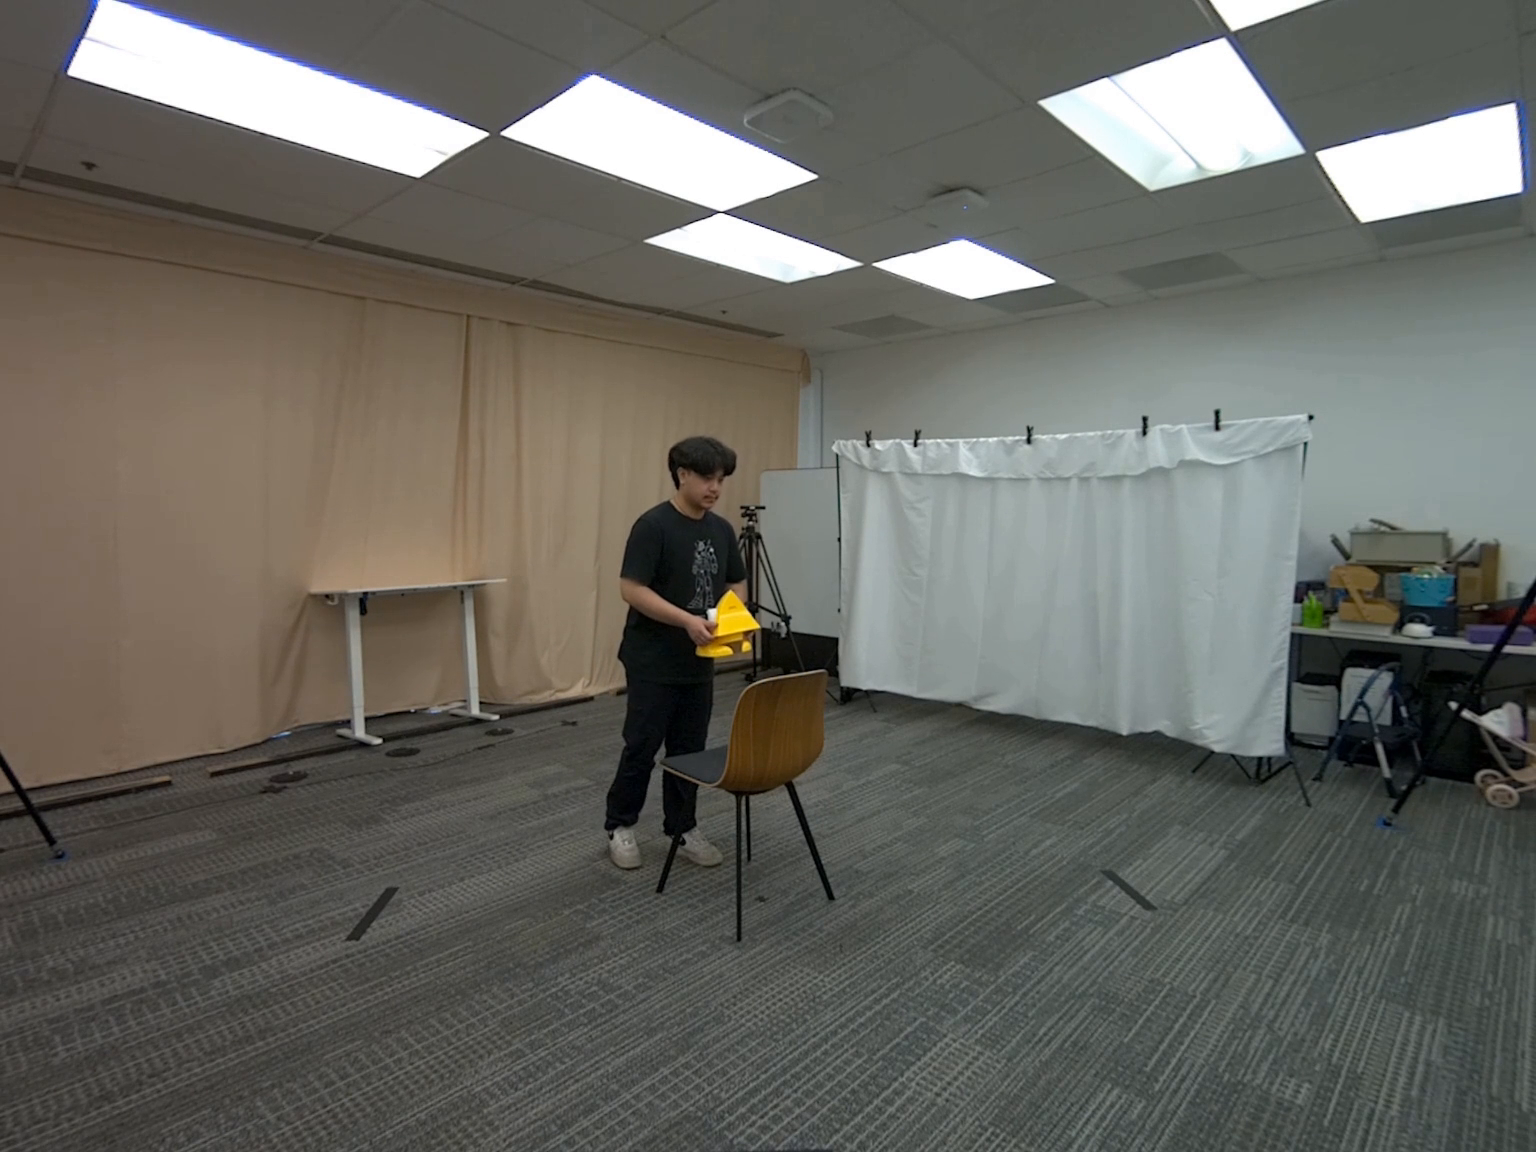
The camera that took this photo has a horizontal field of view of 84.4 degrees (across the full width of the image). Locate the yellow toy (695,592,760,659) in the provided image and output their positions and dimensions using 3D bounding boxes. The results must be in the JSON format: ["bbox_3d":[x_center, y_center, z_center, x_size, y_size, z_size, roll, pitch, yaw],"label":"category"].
[{"bbox_3d":[-0.168,0.170,3.116,0.199,0.230,0.199,-8,5,-42],"label":"yellow toy"}]
